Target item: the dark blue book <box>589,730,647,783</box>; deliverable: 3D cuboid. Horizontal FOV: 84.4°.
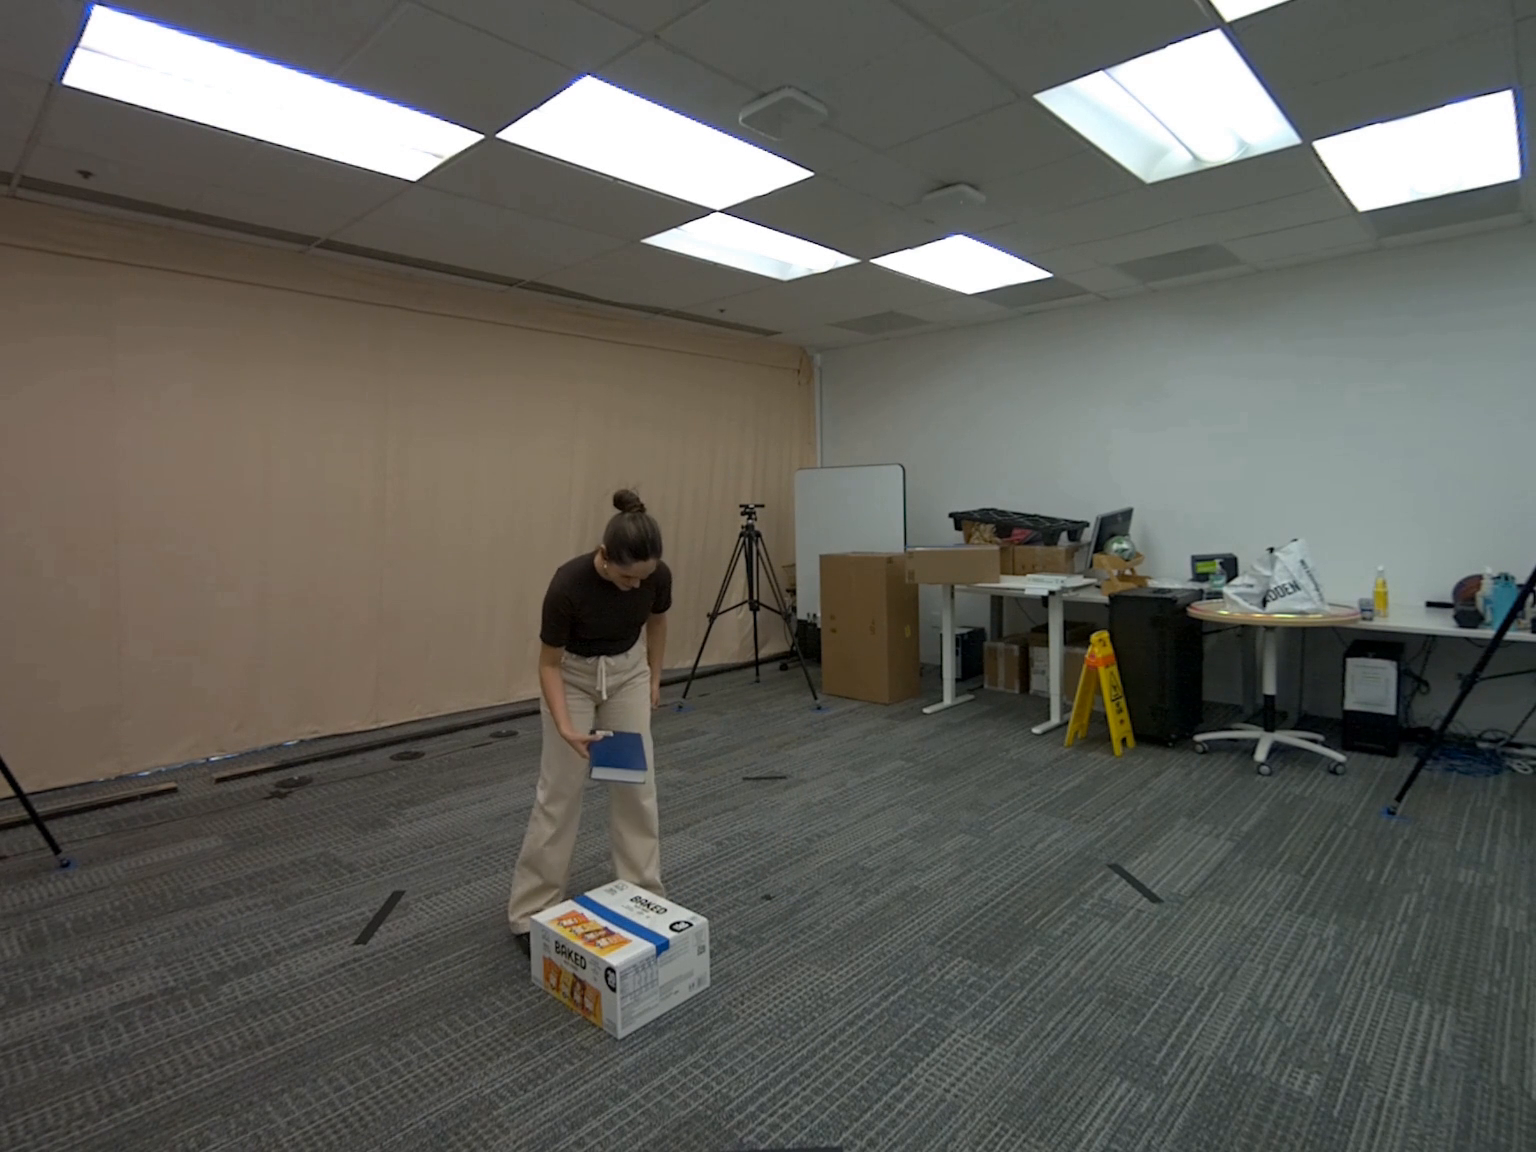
[{"bbox_3d":[-0.444,0.531,2.510,0.162,0.045,0.248,6,12,-8],"label":"dark blue book"}]
